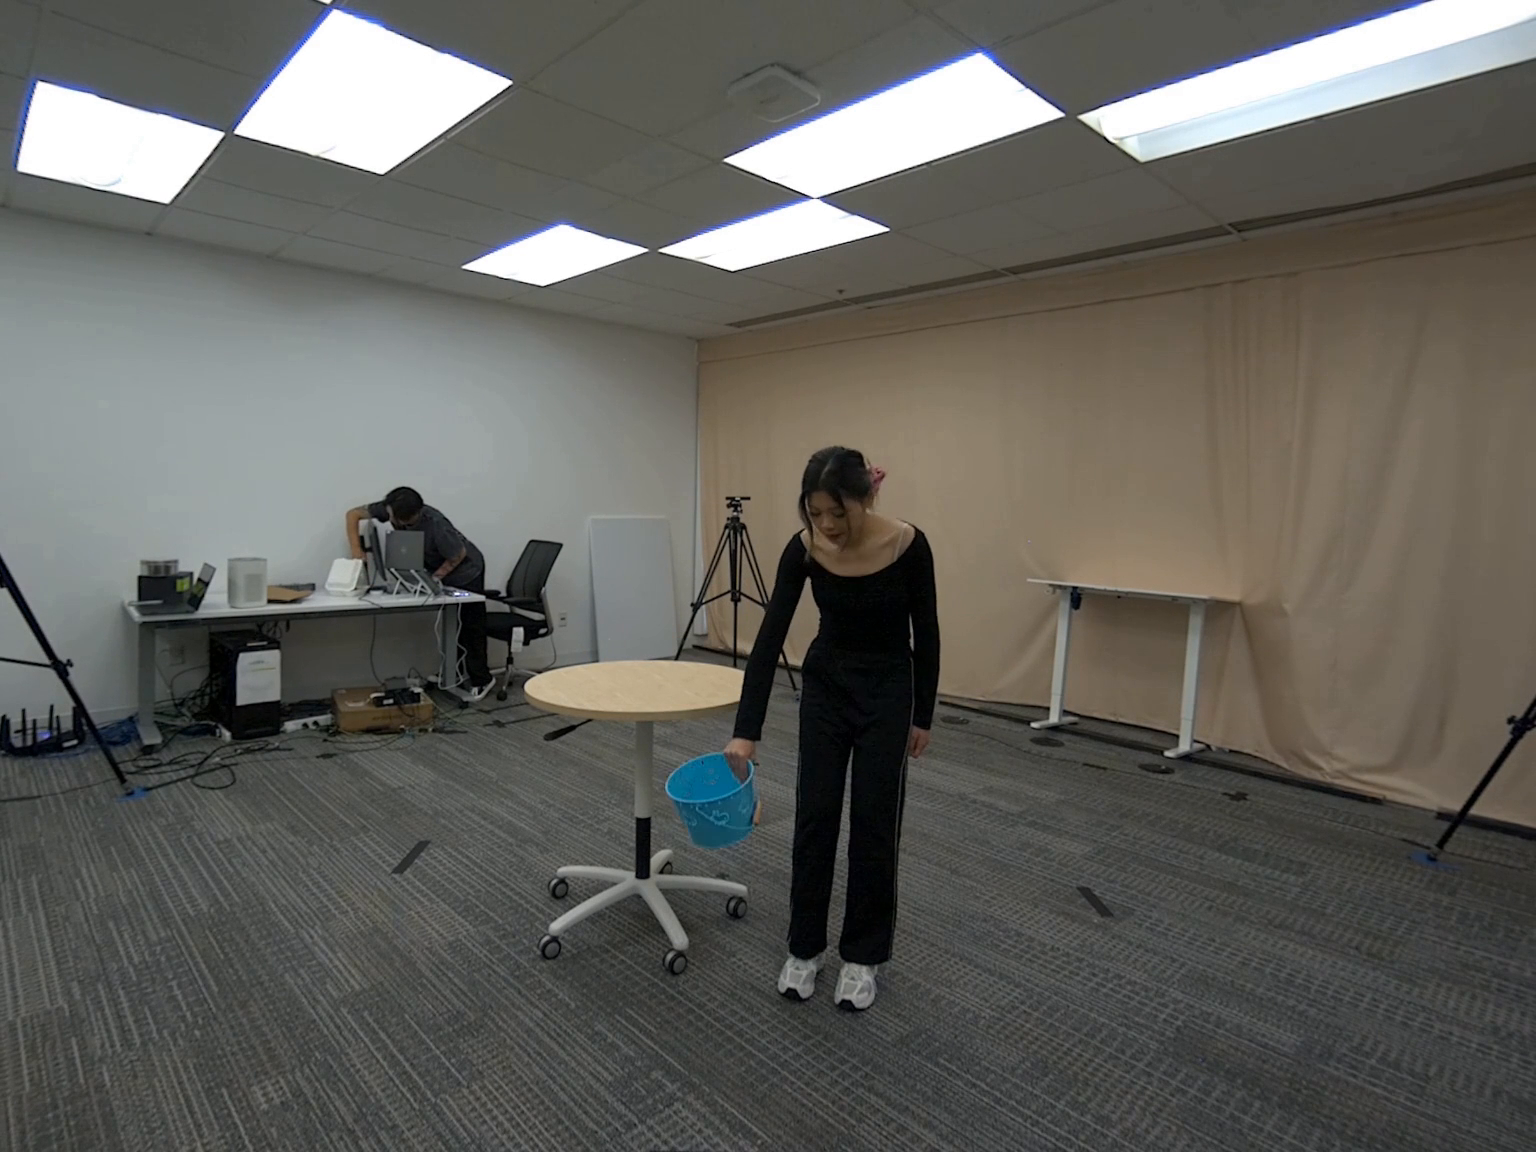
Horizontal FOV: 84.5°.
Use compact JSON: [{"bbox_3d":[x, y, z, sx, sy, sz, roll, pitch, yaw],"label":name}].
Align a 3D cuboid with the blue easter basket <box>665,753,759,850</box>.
[{"bbox_3d":[-0.144,0.608,2.180,0.244,0.154,0.246,-13,15,2],"label":"blue easter basket"}]
